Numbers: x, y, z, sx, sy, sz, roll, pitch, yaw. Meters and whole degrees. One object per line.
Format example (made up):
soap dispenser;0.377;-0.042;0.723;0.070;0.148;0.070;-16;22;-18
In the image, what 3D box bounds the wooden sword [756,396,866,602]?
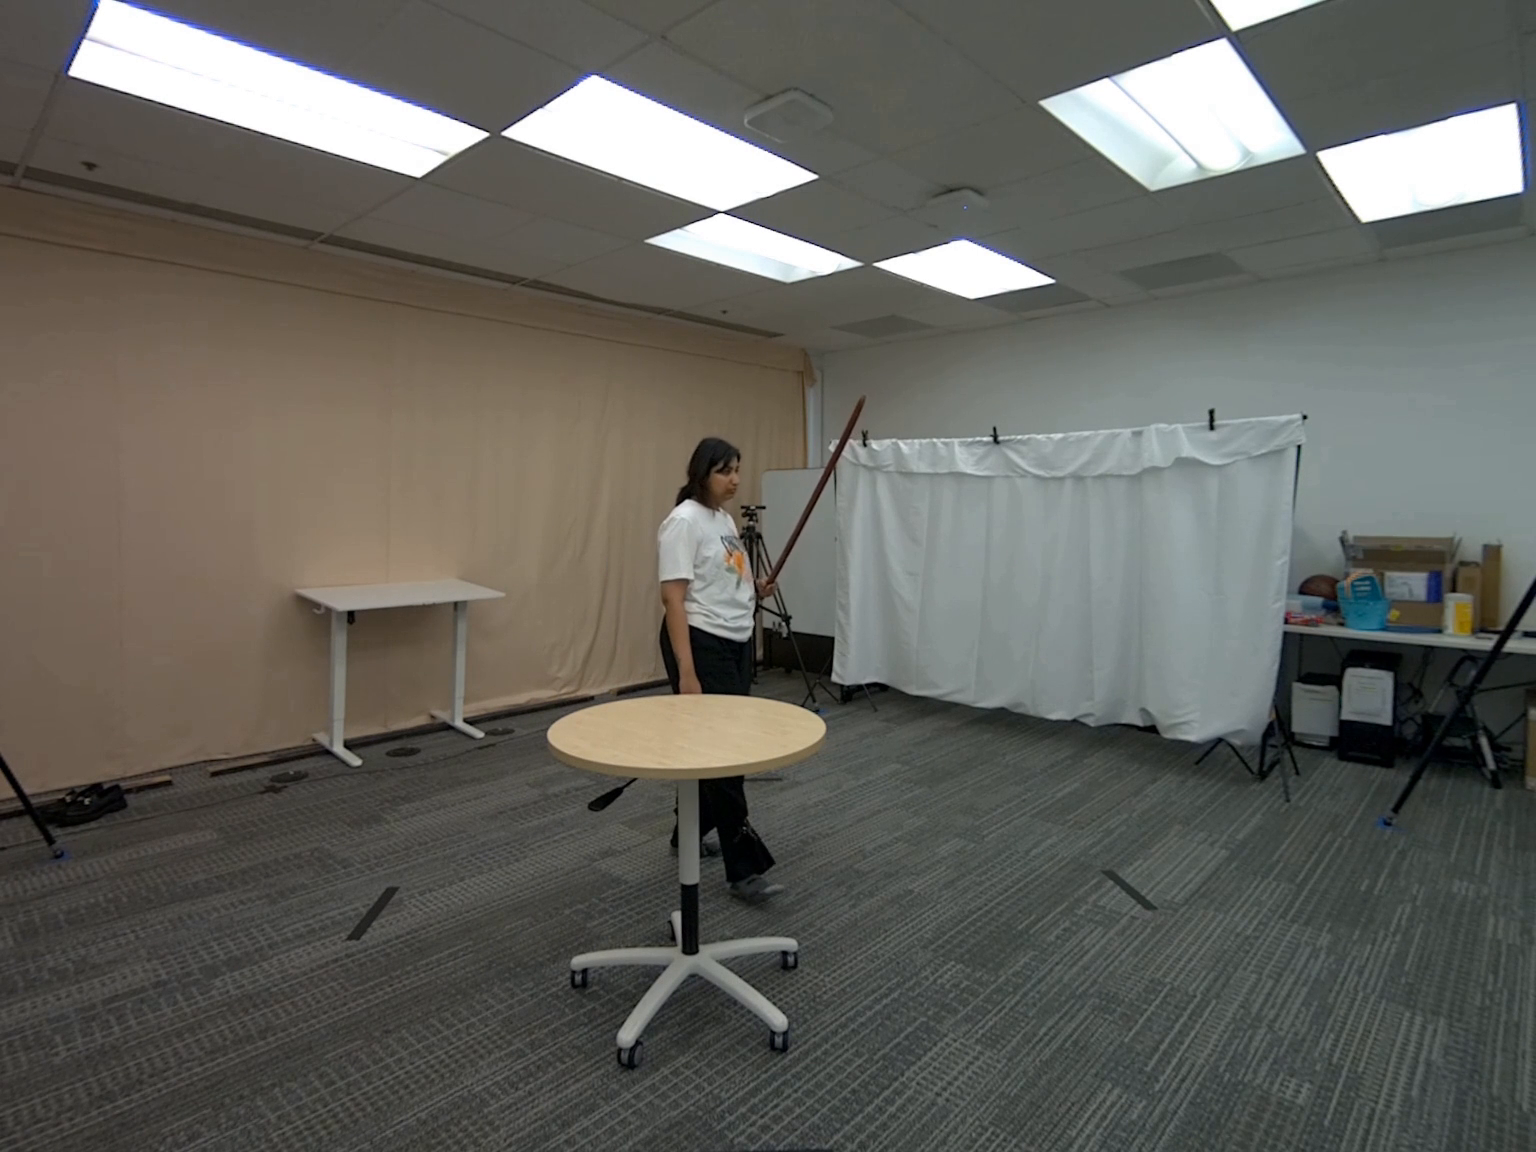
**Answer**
wooden sword;0.151;-0.234;2.986;0.050;0.025;1.020;-14;-35;-35
